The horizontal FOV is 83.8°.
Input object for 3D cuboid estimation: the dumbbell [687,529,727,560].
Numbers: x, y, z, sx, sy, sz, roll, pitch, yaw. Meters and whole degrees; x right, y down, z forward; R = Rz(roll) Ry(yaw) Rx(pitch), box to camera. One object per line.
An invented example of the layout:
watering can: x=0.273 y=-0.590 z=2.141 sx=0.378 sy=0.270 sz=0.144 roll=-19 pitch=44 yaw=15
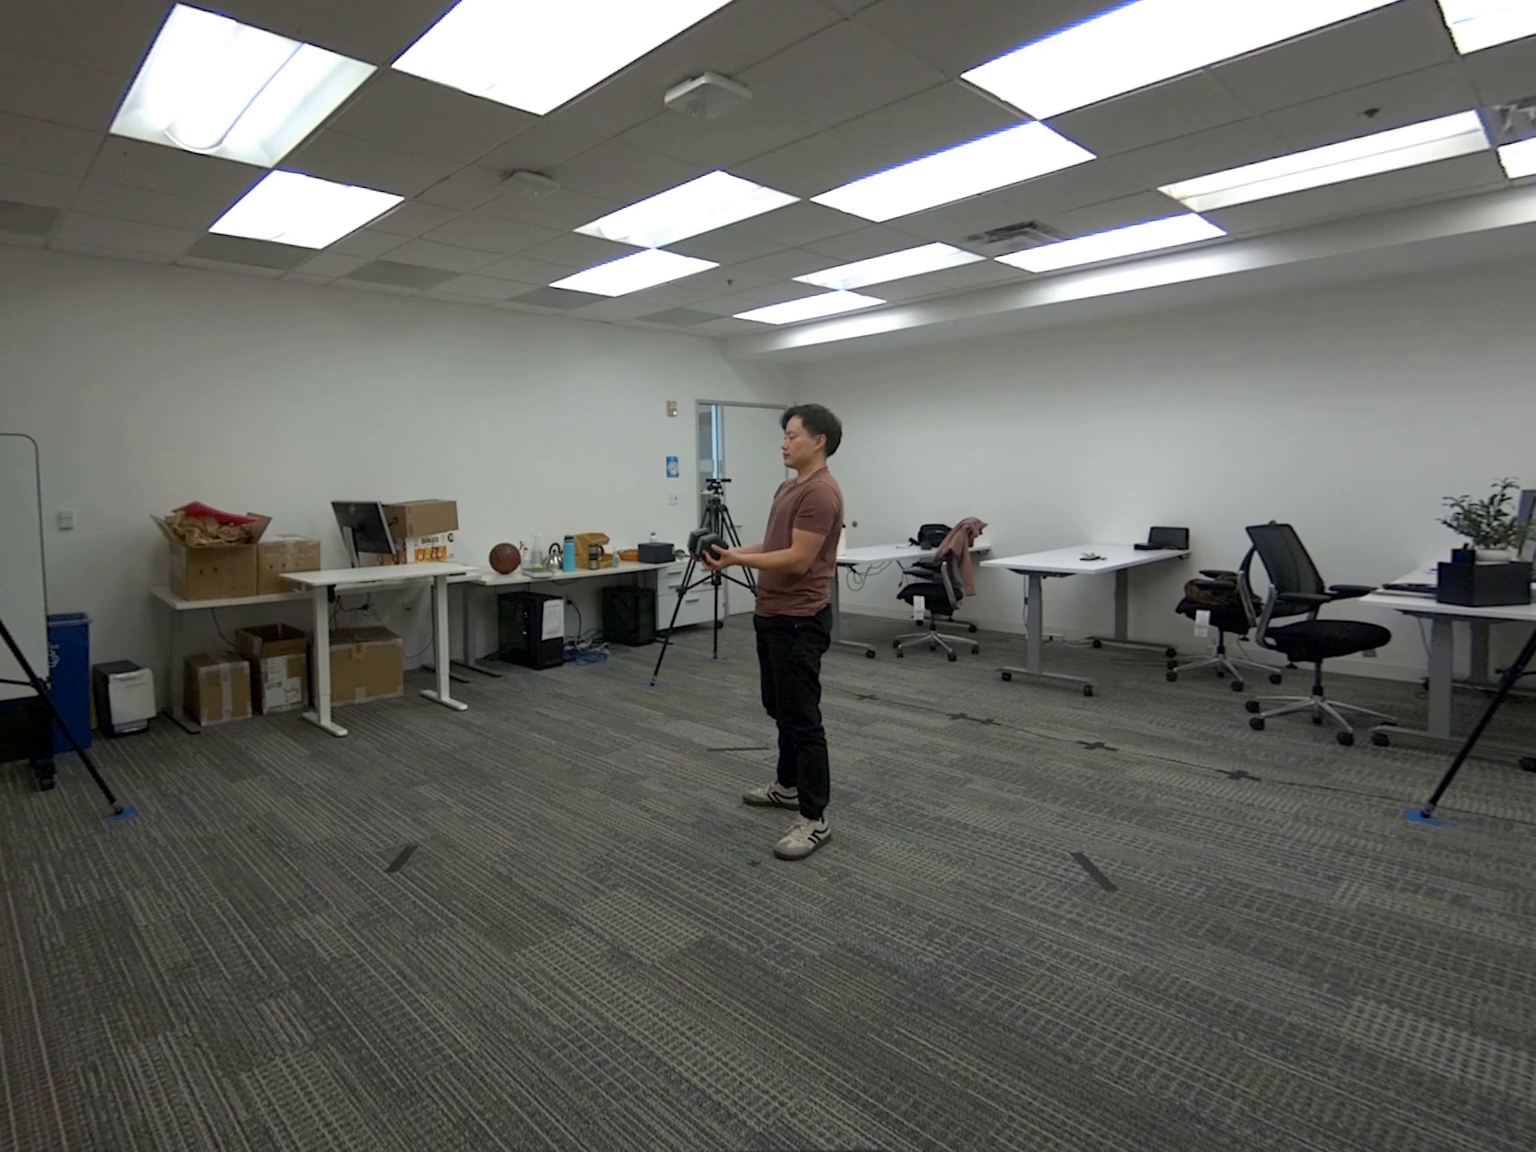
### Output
dumbbell: x=-0.227 y=-0.116 z=3.326 sx=0.122 sy=0.107 sz=0.299 roll=-19 pitch=12 yaw=-10
